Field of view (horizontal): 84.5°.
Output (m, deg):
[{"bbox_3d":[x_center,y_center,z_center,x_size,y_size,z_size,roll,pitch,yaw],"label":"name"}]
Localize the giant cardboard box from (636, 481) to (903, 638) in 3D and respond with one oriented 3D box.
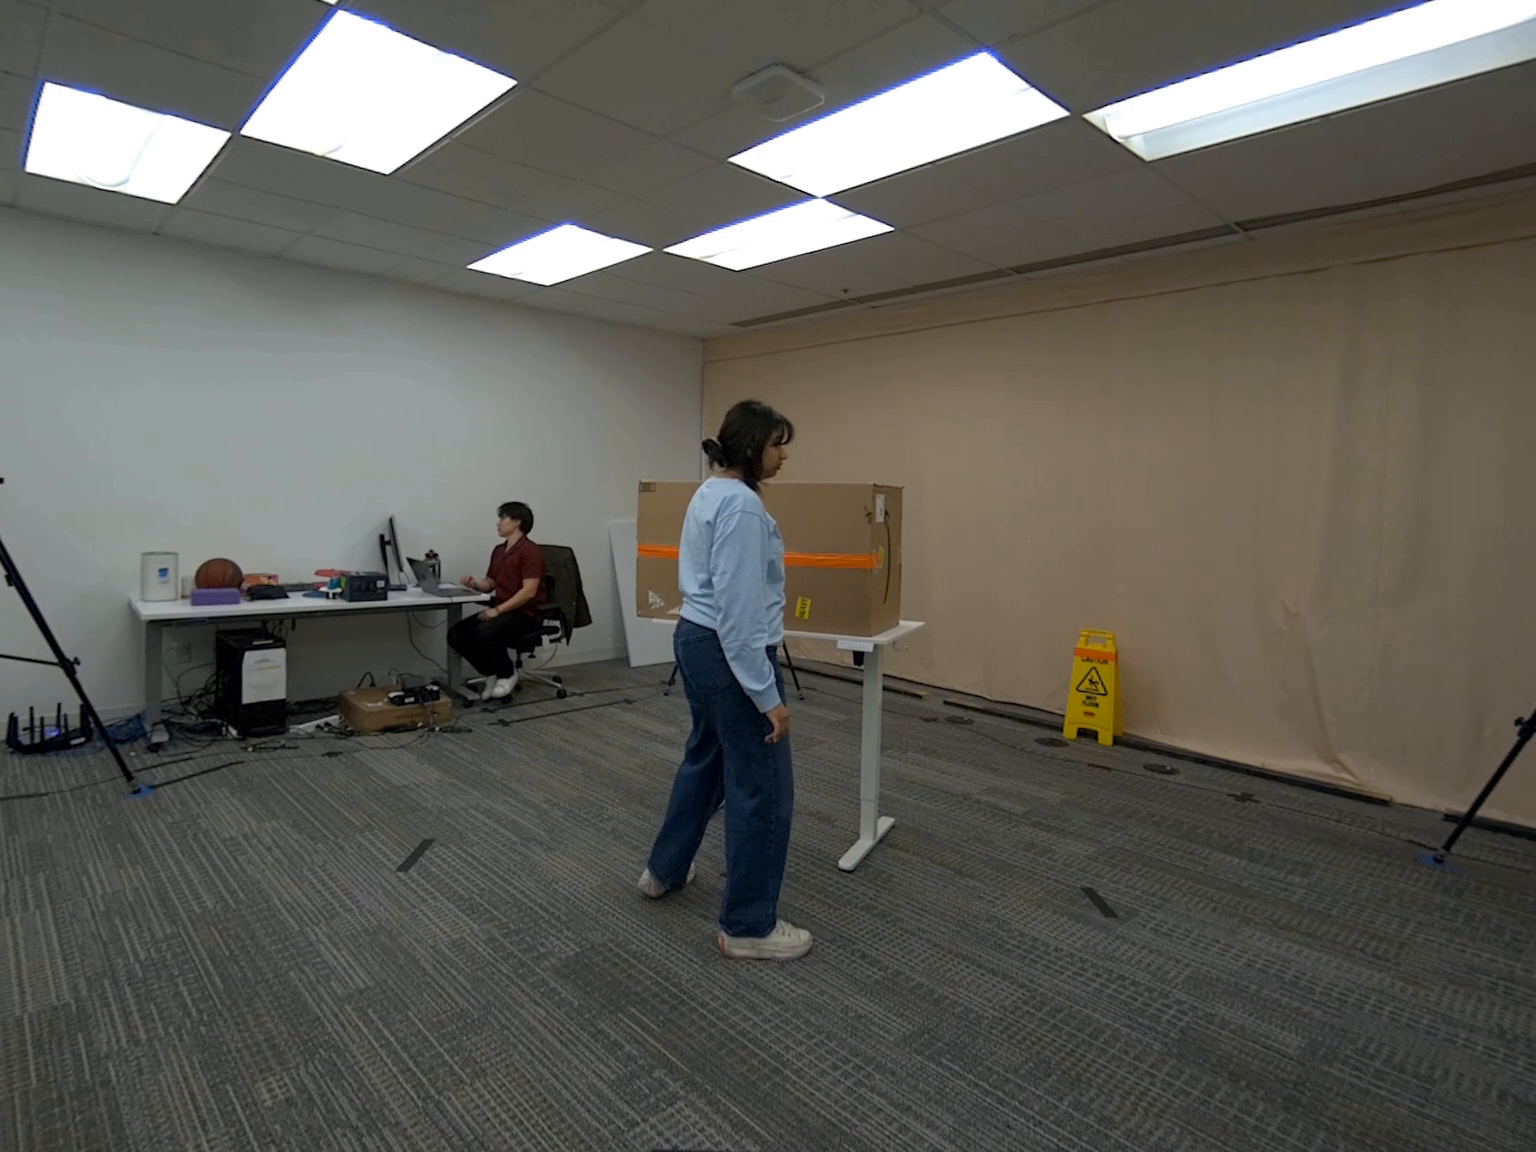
[{"bbox_3d":[-0.002,-0.095,3.508,1.046,0.576,0.419,3,4,25],"label":"giant cardboard box"}]
